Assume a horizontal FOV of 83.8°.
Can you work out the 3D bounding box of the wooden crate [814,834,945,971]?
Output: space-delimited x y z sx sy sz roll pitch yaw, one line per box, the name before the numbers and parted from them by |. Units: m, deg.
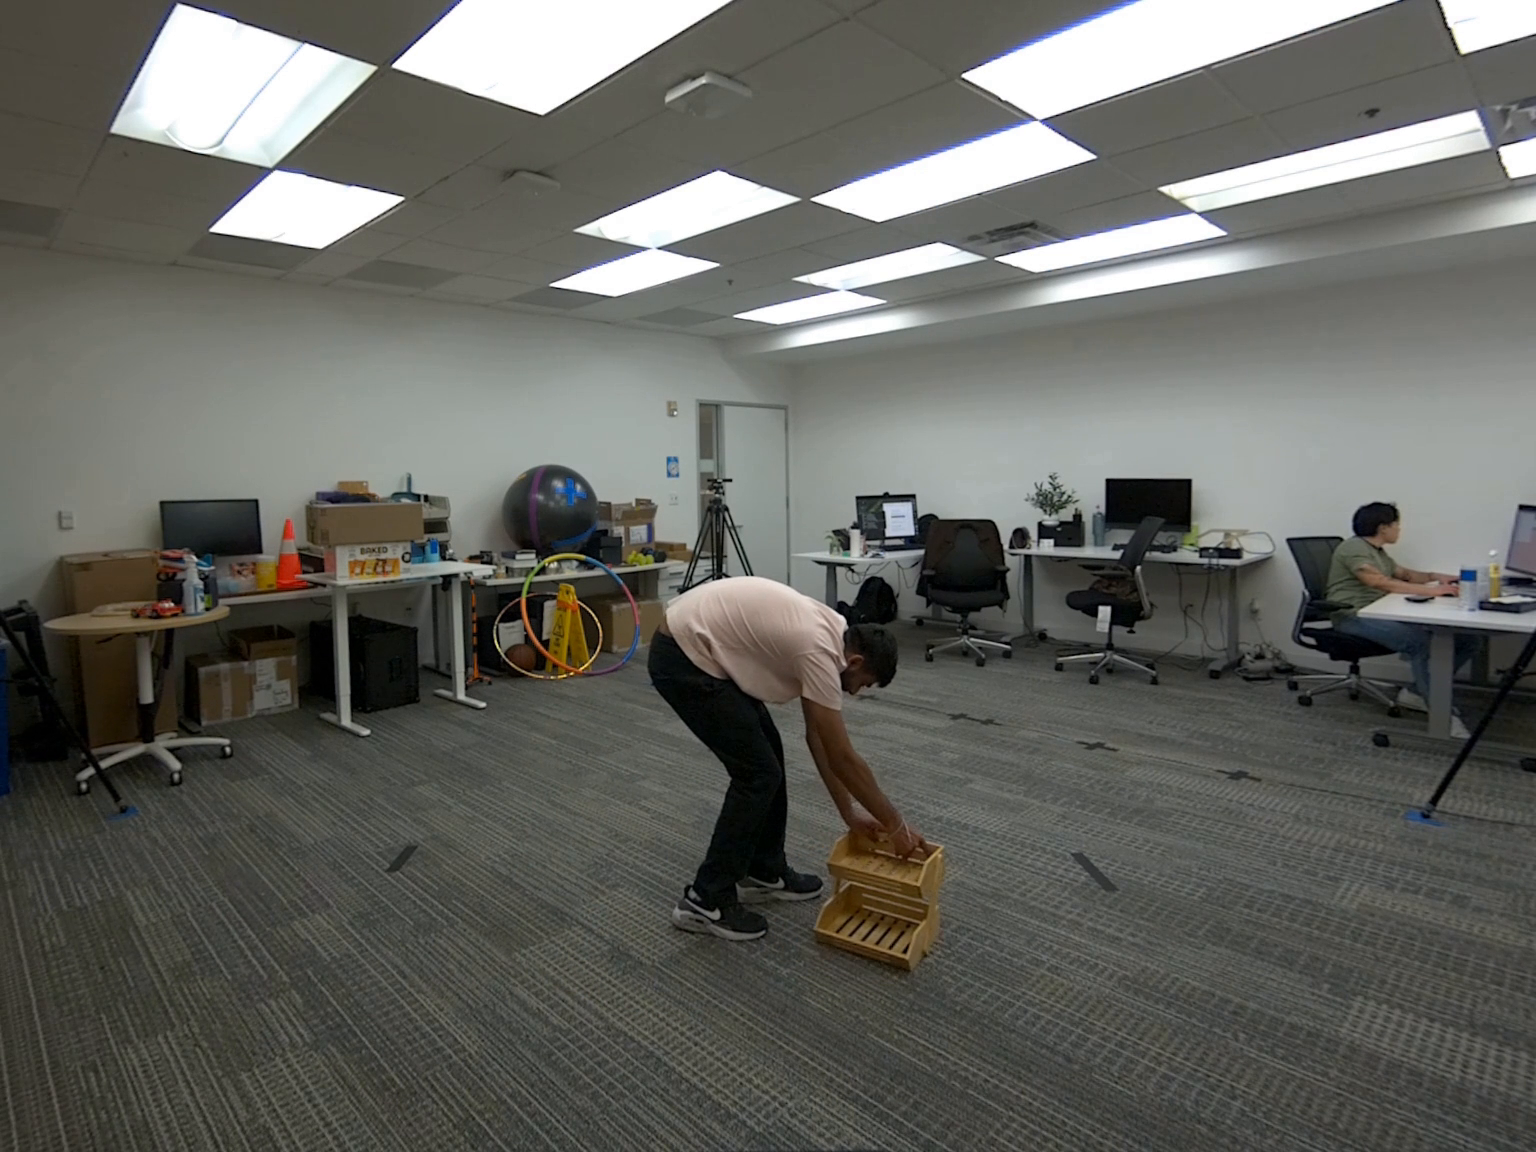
wooden crate | 0.341 0.964 2.590 0.333 0.272 0.295 2 6 32
